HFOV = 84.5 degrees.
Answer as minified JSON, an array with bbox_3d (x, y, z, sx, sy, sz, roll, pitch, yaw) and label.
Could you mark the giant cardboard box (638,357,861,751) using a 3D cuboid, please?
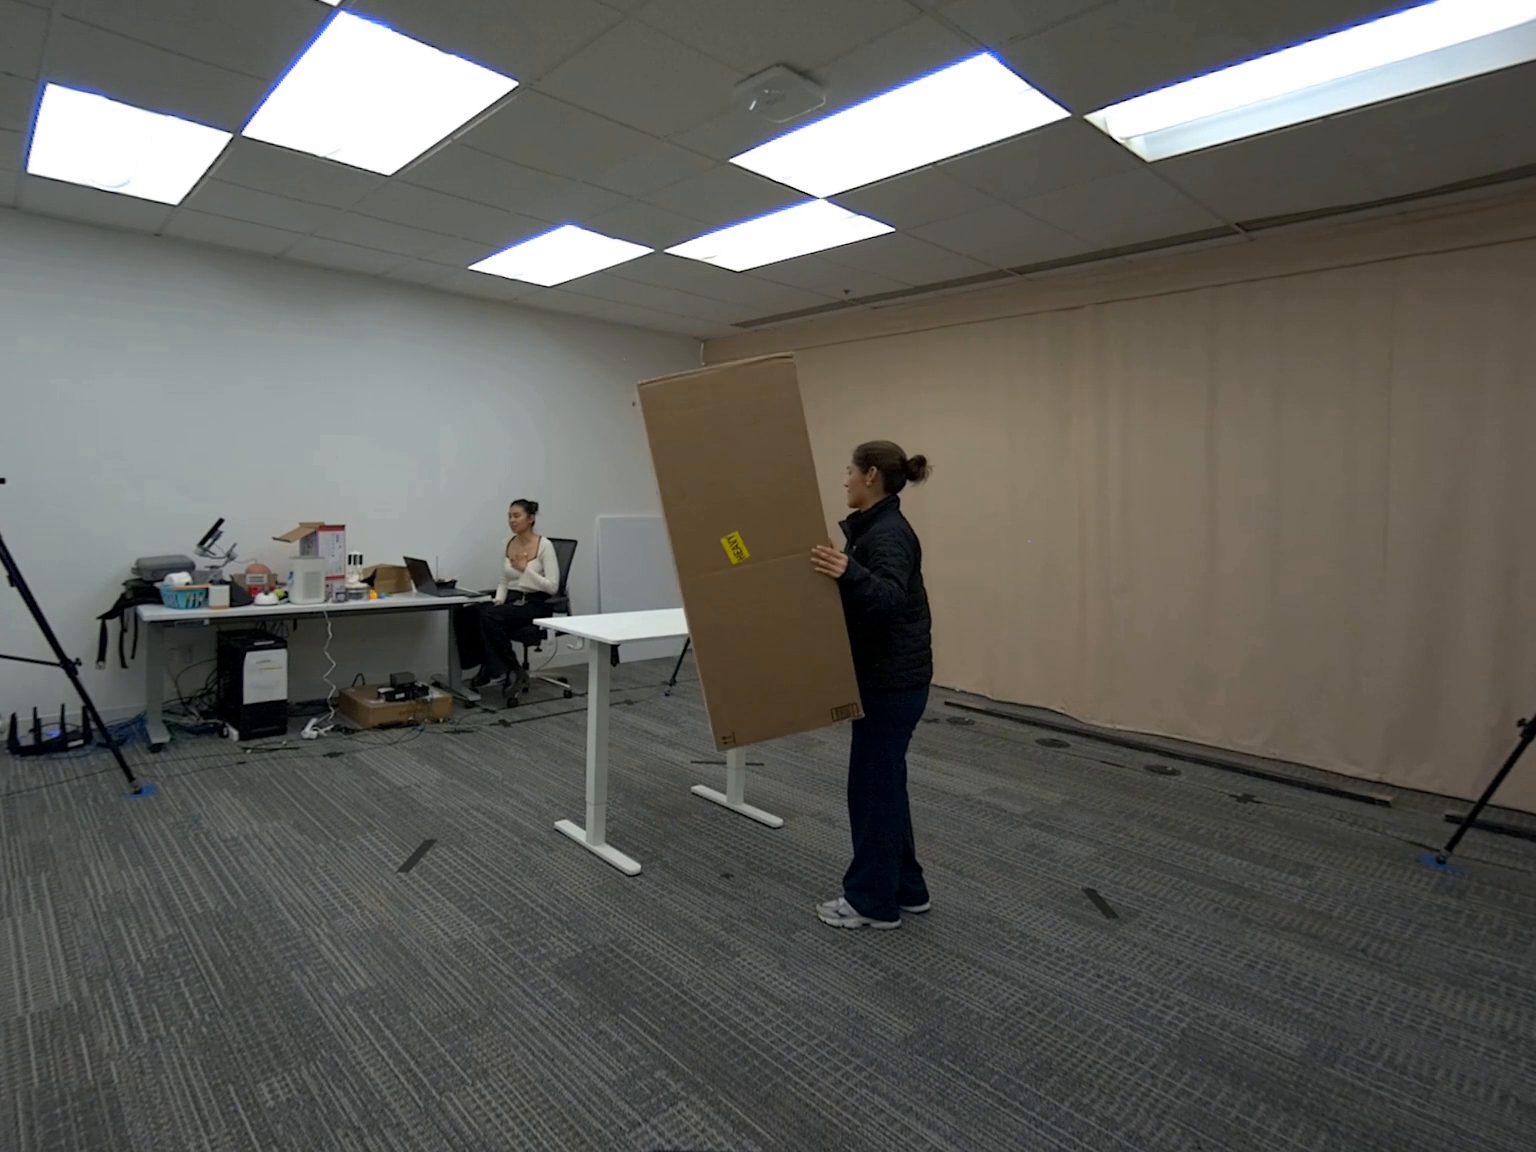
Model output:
[{"bbox_3d":[-0.079,-0.090,2.528,0.425,1.019,0.583,-12,8,-4],"label":"giant cardboard box"}]
